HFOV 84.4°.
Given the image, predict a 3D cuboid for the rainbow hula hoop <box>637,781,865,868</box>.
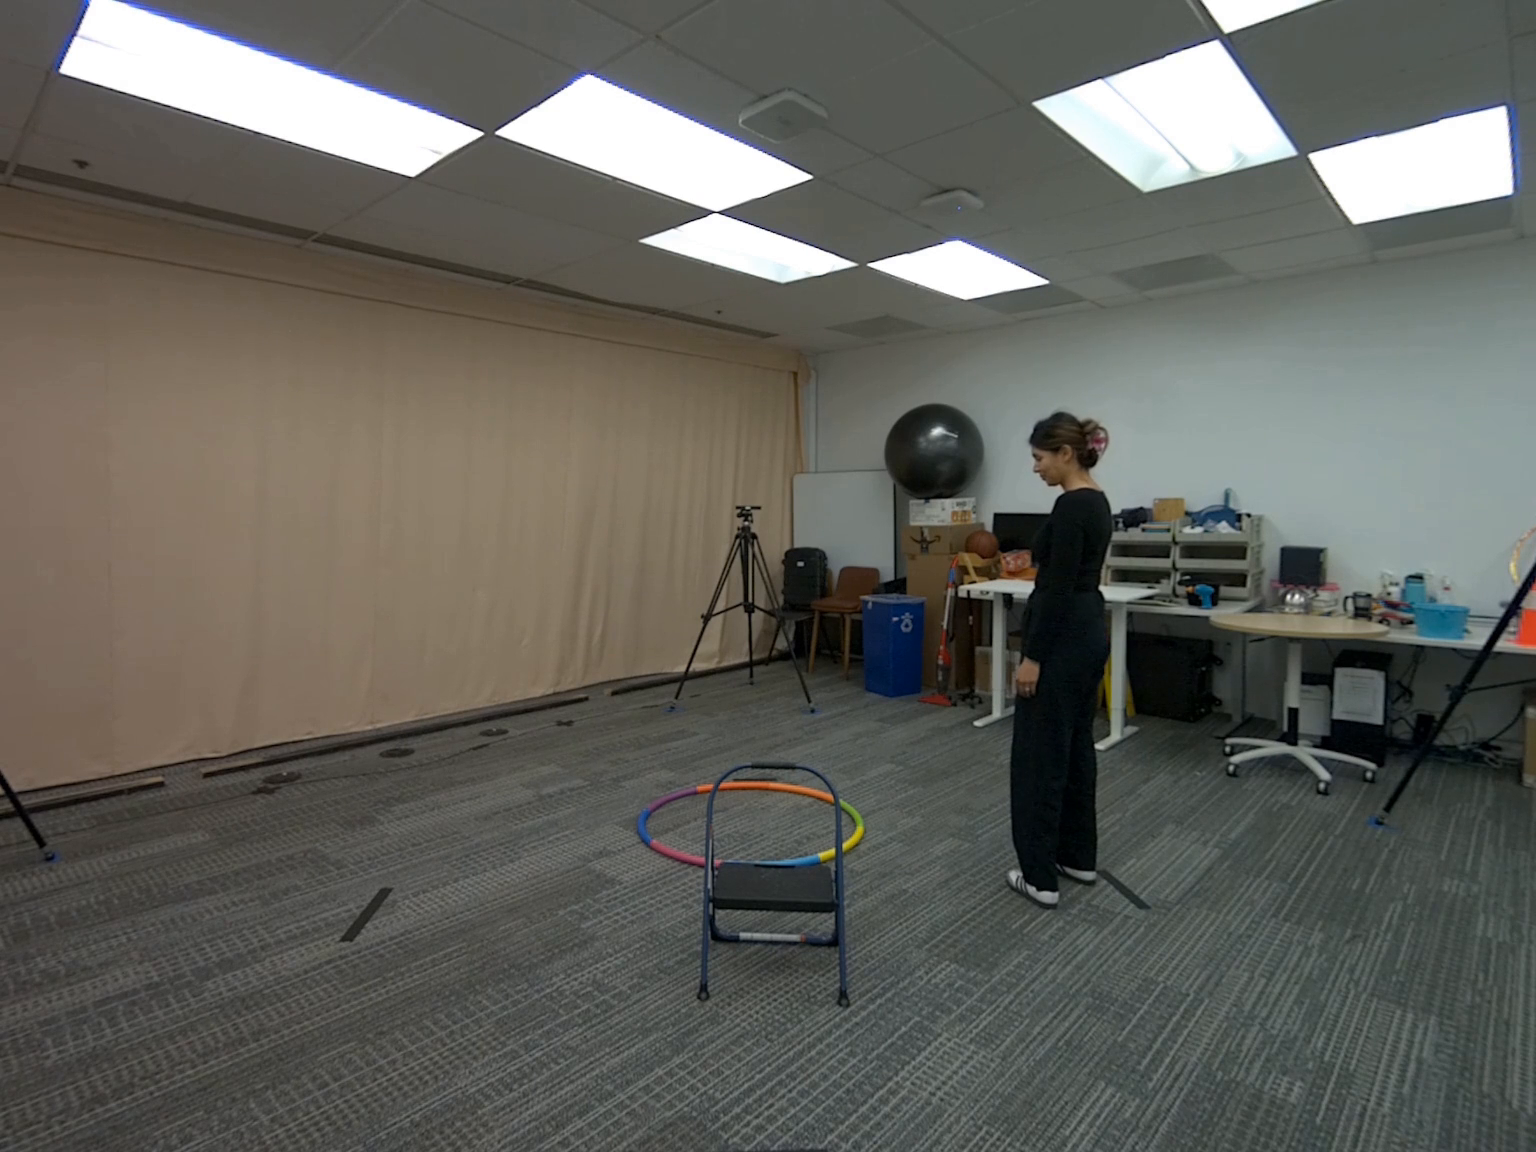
[{"bbox_3d":[-0.081,1.052,3.673,0.978,0.035,0.982,-1,5,-2],"label":"rainbow hula hoop"}]
